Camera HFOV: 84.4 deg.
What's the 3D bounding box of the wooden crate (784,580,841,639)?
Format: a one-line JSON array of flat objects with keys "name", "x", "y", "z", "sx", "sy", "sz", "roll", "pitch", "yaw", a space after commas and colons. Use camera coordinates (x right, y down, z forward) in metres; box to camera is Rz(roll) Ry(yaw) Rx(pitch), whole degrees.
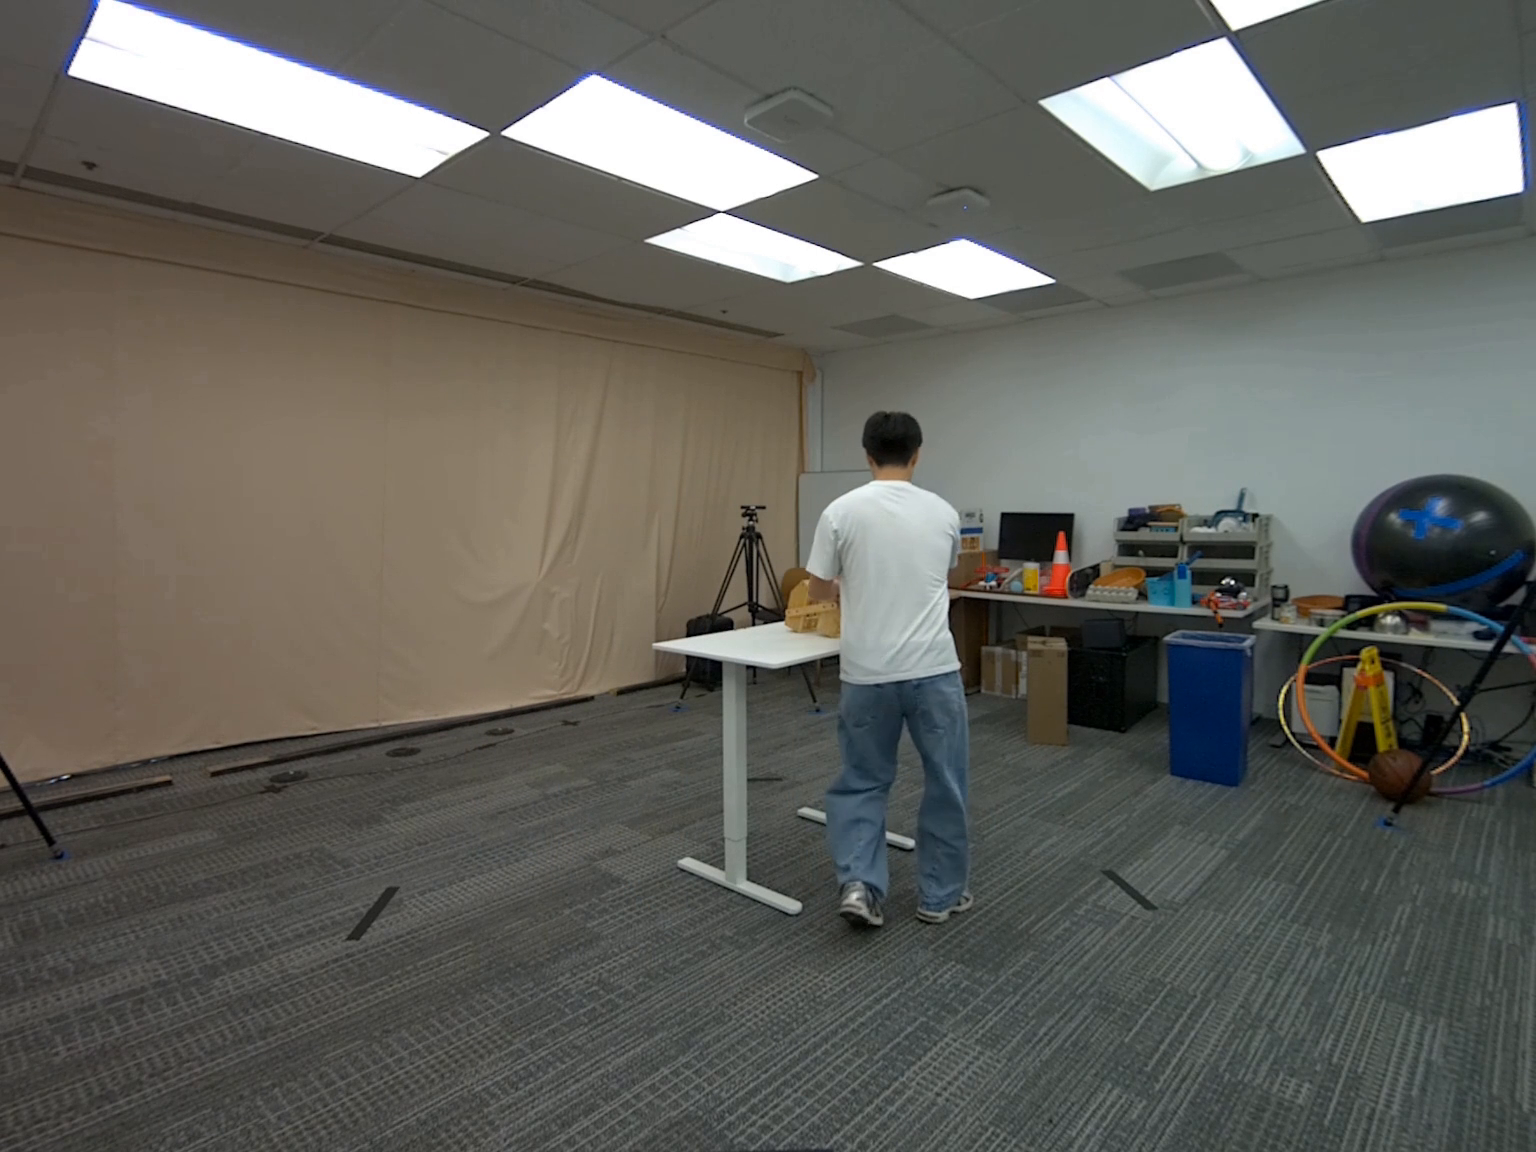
[{"name": "wooden crate", "x": 0.291, "y": 0.093, "z": 3.390, "sx": 0.314, "sy": 0.300, "sz": 0.283, "roll": -4, "pitch": 22, "yaw": -42}]
